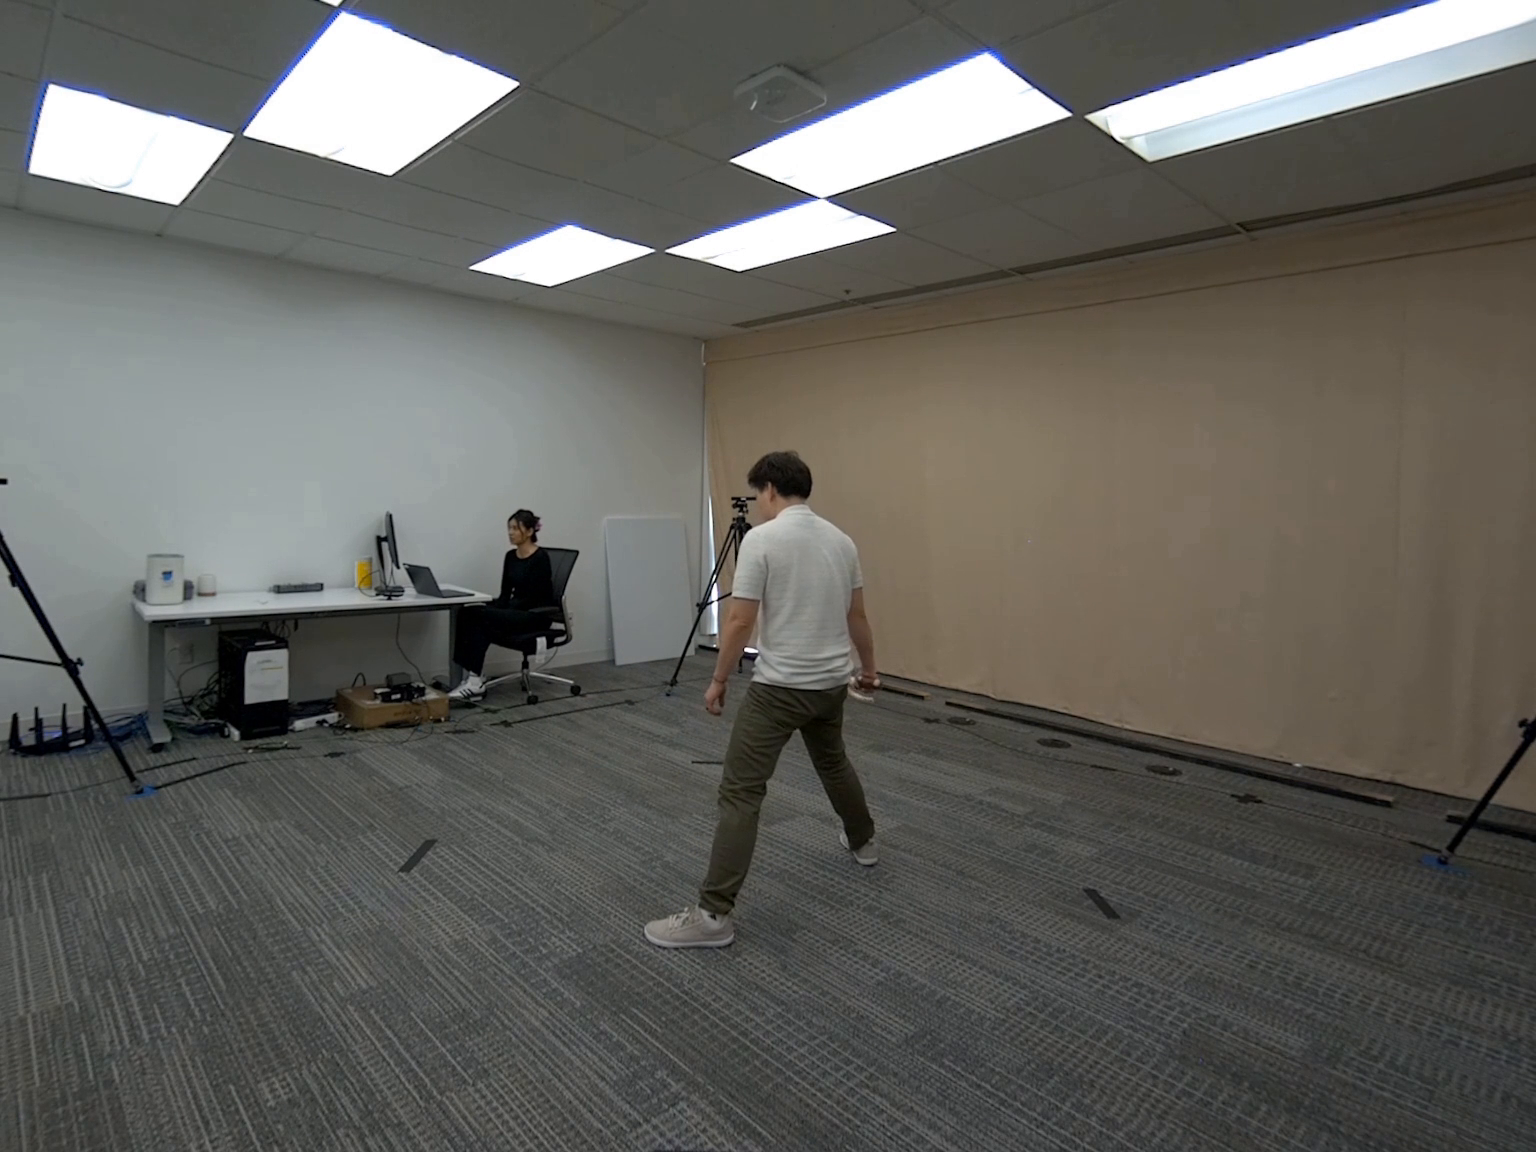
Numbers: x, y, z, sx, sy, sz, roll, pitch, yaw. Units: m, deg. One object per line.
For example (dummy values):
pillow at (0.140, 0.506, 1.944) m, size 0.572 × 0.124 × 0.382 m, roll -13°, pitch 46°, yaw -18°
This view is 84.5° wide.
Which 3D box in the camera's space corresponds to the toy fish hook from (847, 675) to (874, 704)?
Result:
toy fish hook at (0.366, 0.449, 3.340) m, size 0.222 × 0.048 × 0.511 m, roll 30°, pitch -12°, yaw -13°
